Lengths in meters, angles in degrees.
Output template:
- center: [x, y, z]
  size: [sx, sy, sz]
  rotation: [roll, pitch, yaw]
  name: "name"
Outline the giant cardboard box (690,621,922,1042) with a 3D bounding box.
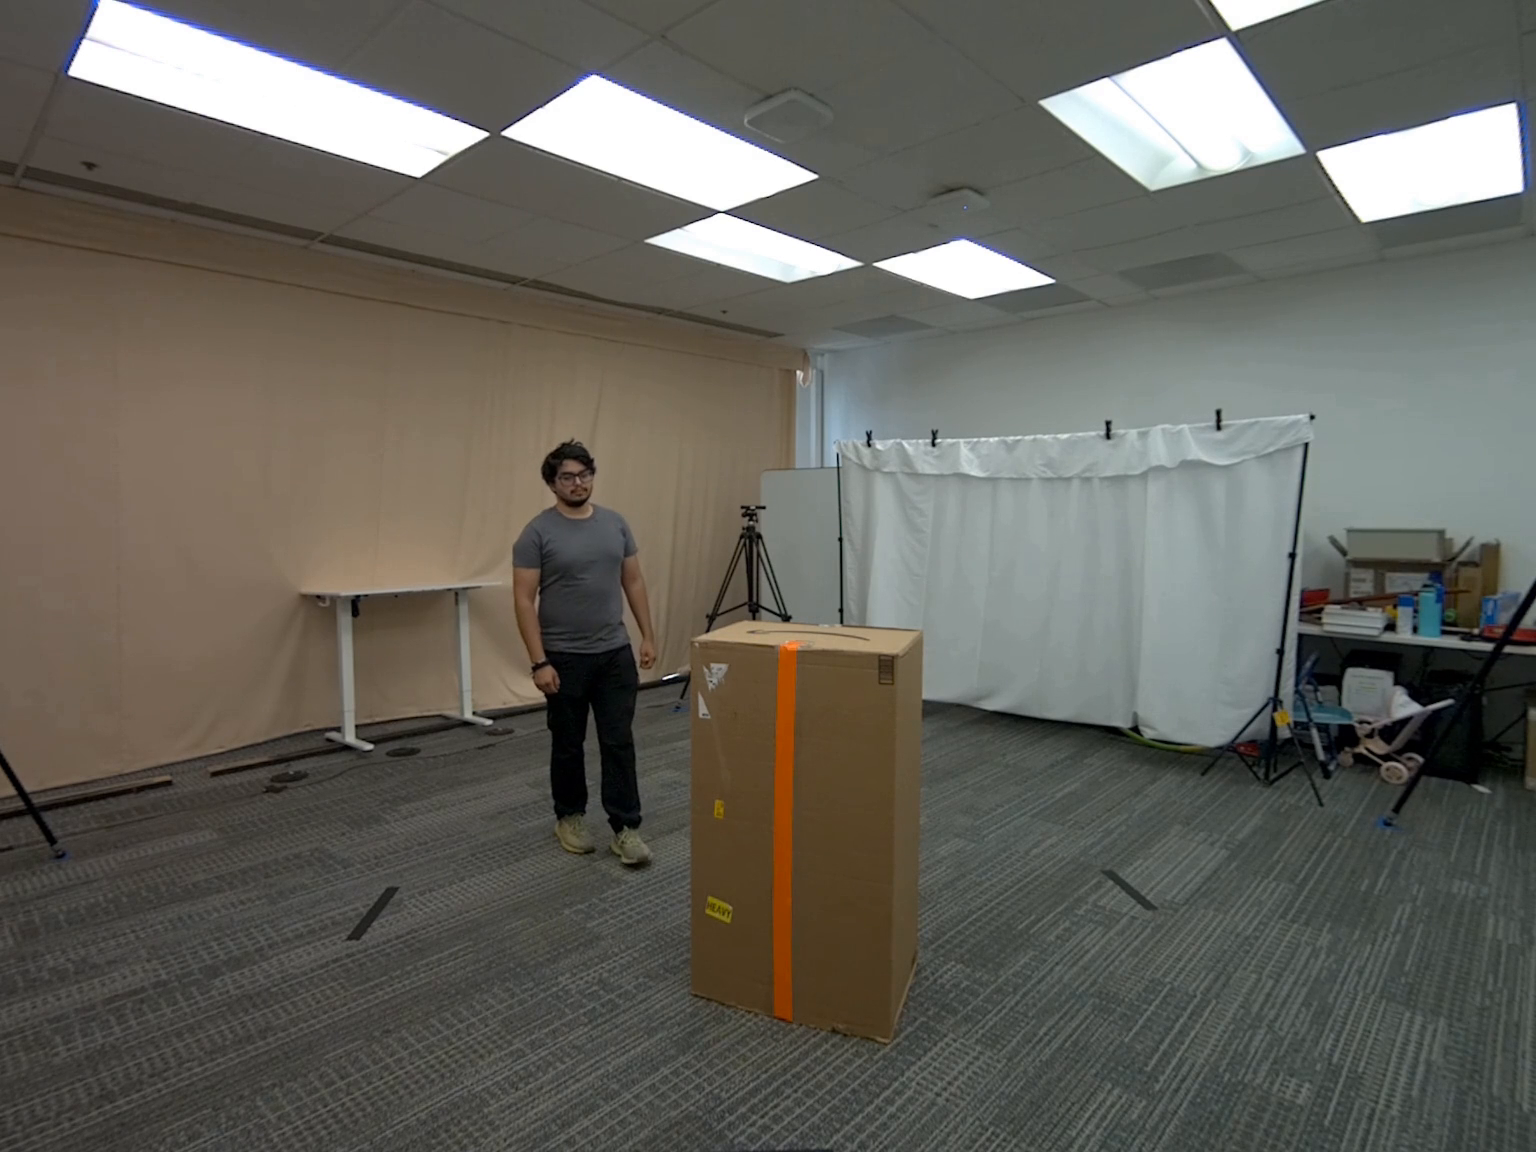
- center: [0.125, 0.679, 2.448]
  size: [0.591, 1.024, 0.417]
  rotation: [2, 3, 23]
  name: "giant cardboard box"
